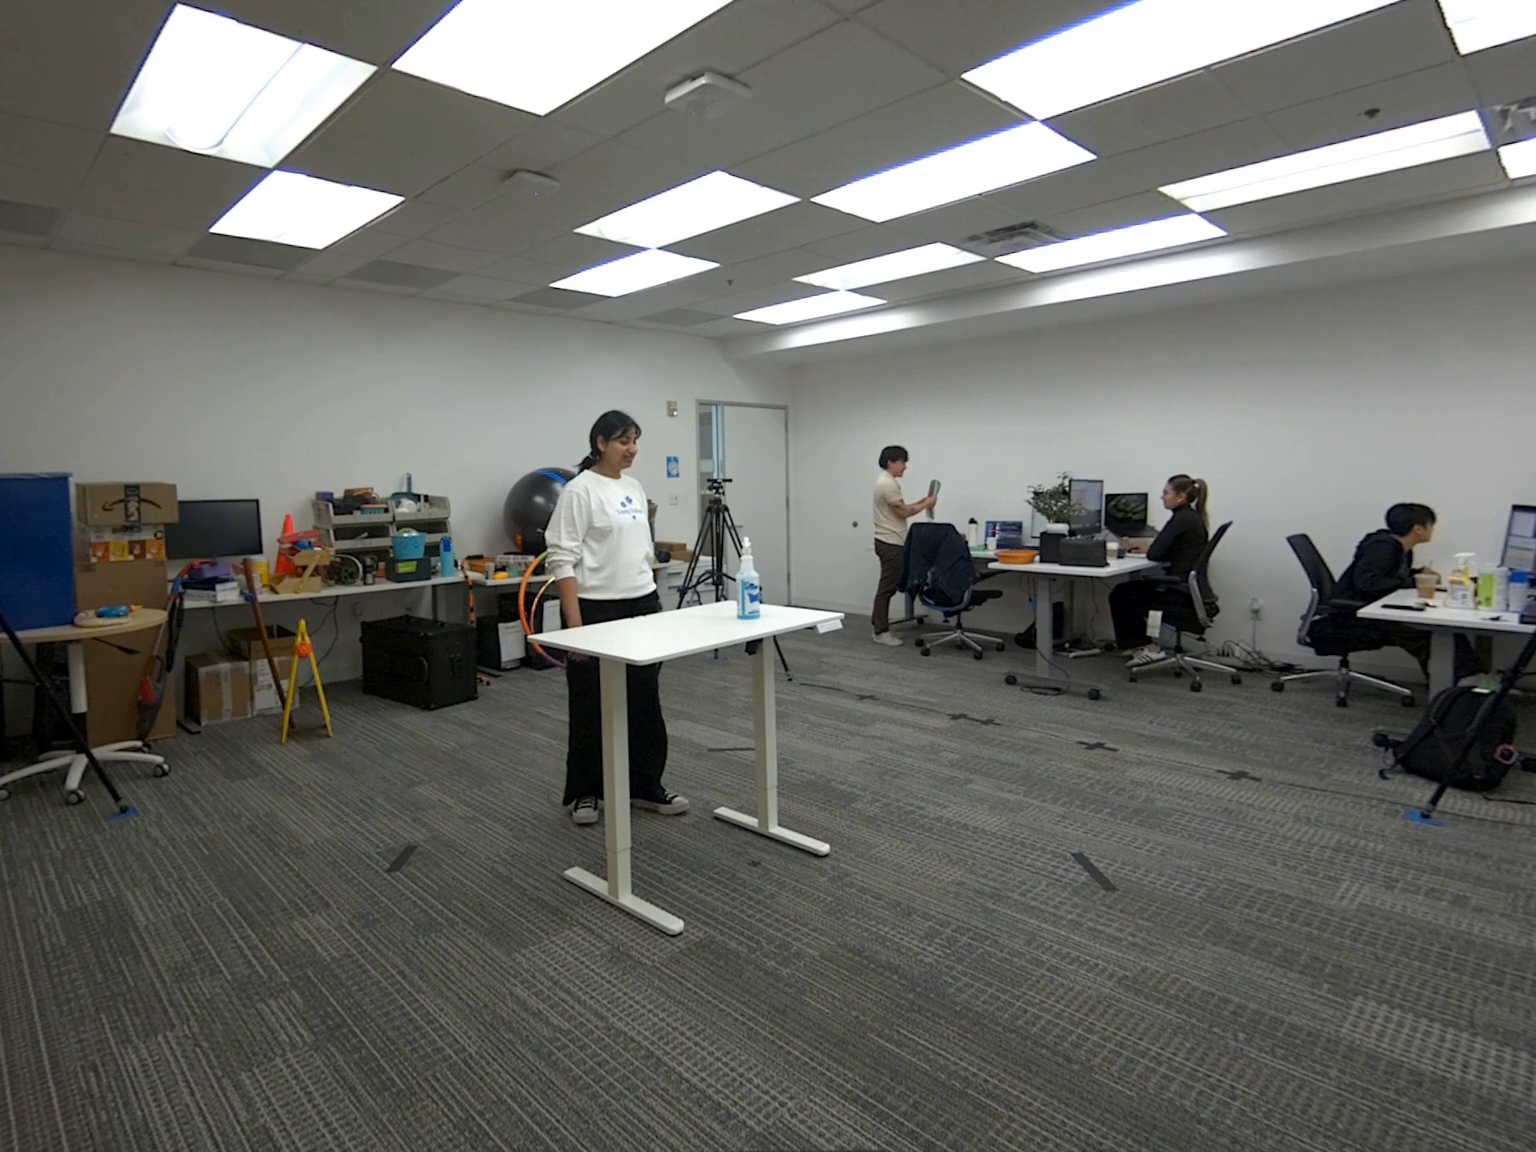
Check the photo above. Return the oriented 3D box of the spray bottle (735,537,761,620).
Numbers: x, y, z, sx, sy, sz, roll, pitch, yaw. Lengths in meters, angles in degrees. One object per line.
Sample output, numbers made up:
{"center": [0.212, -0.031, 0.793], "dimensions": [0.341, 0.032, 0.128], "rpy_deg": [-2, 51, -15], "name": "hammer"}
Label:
{"center": [-0.072, 0.008, 3.162], "dimensions": [0.089, 0.296, 0.088], "rpy_deg": [1, 4, 25], "name": "spray bottle"}
